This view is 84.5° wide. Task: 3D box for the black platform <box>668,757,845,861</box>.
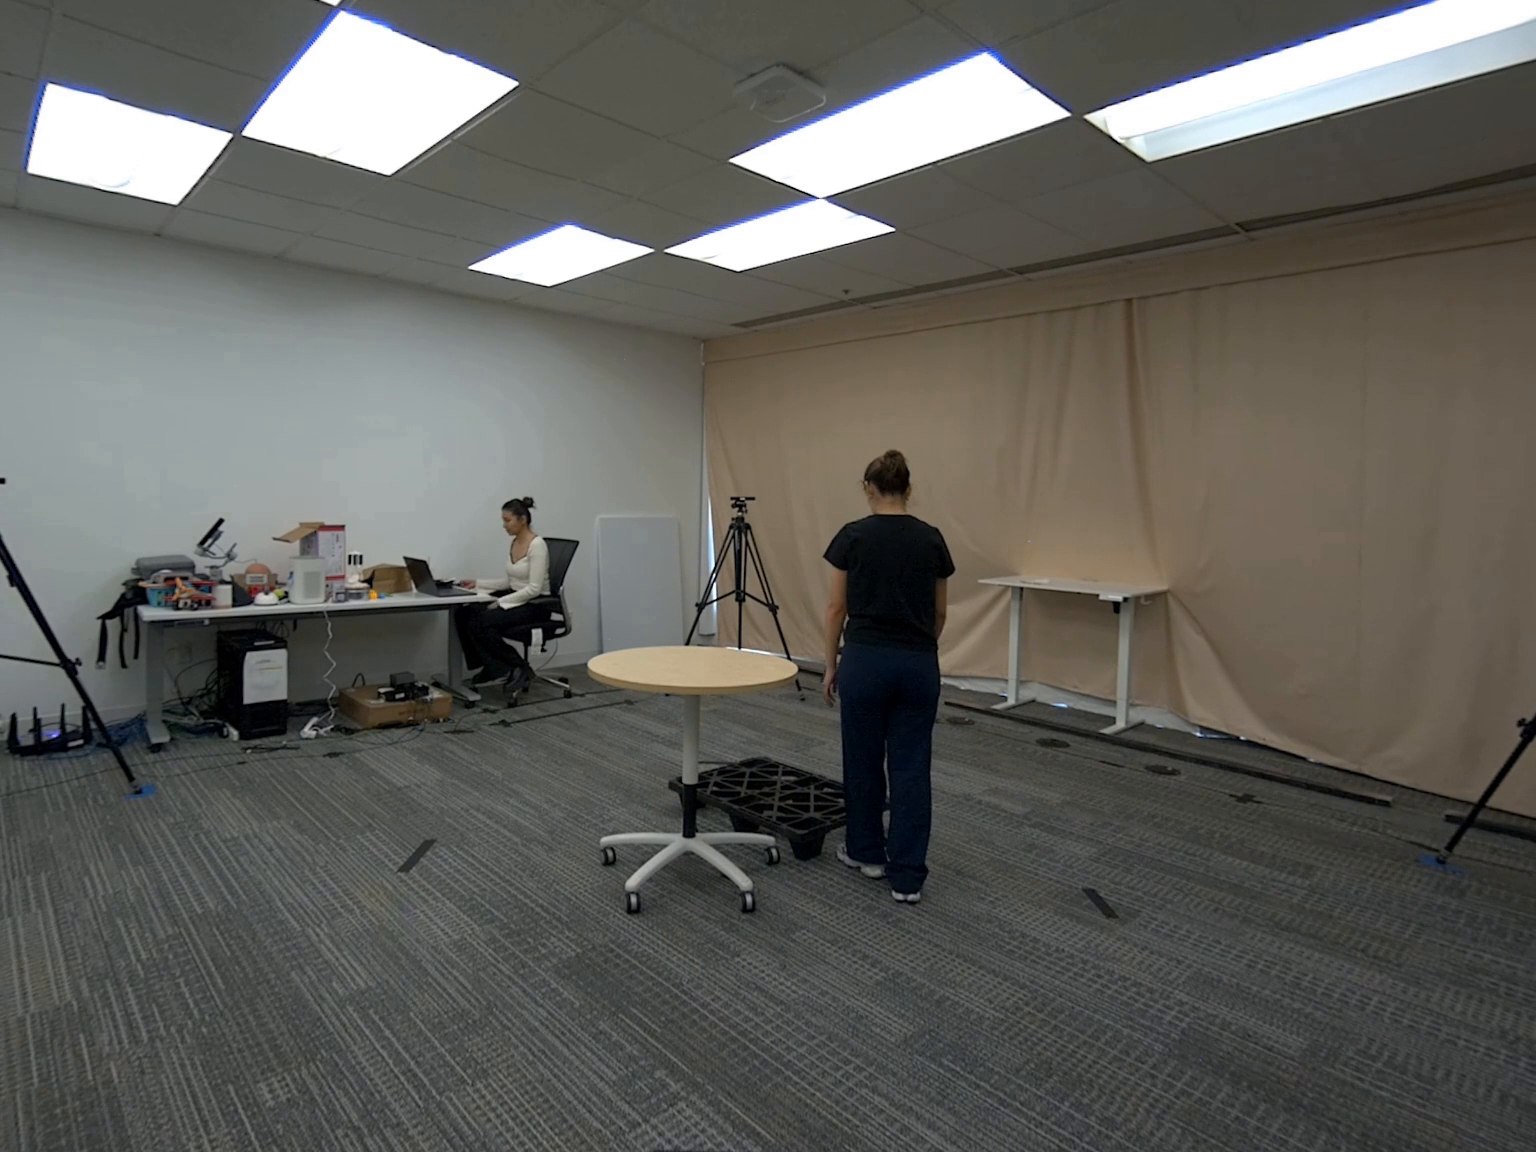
[{"bbox_3d":[0.033,0.998,3.649,0.591,0.143,0.826,-4,7,-45],"label":"black platform"}]
